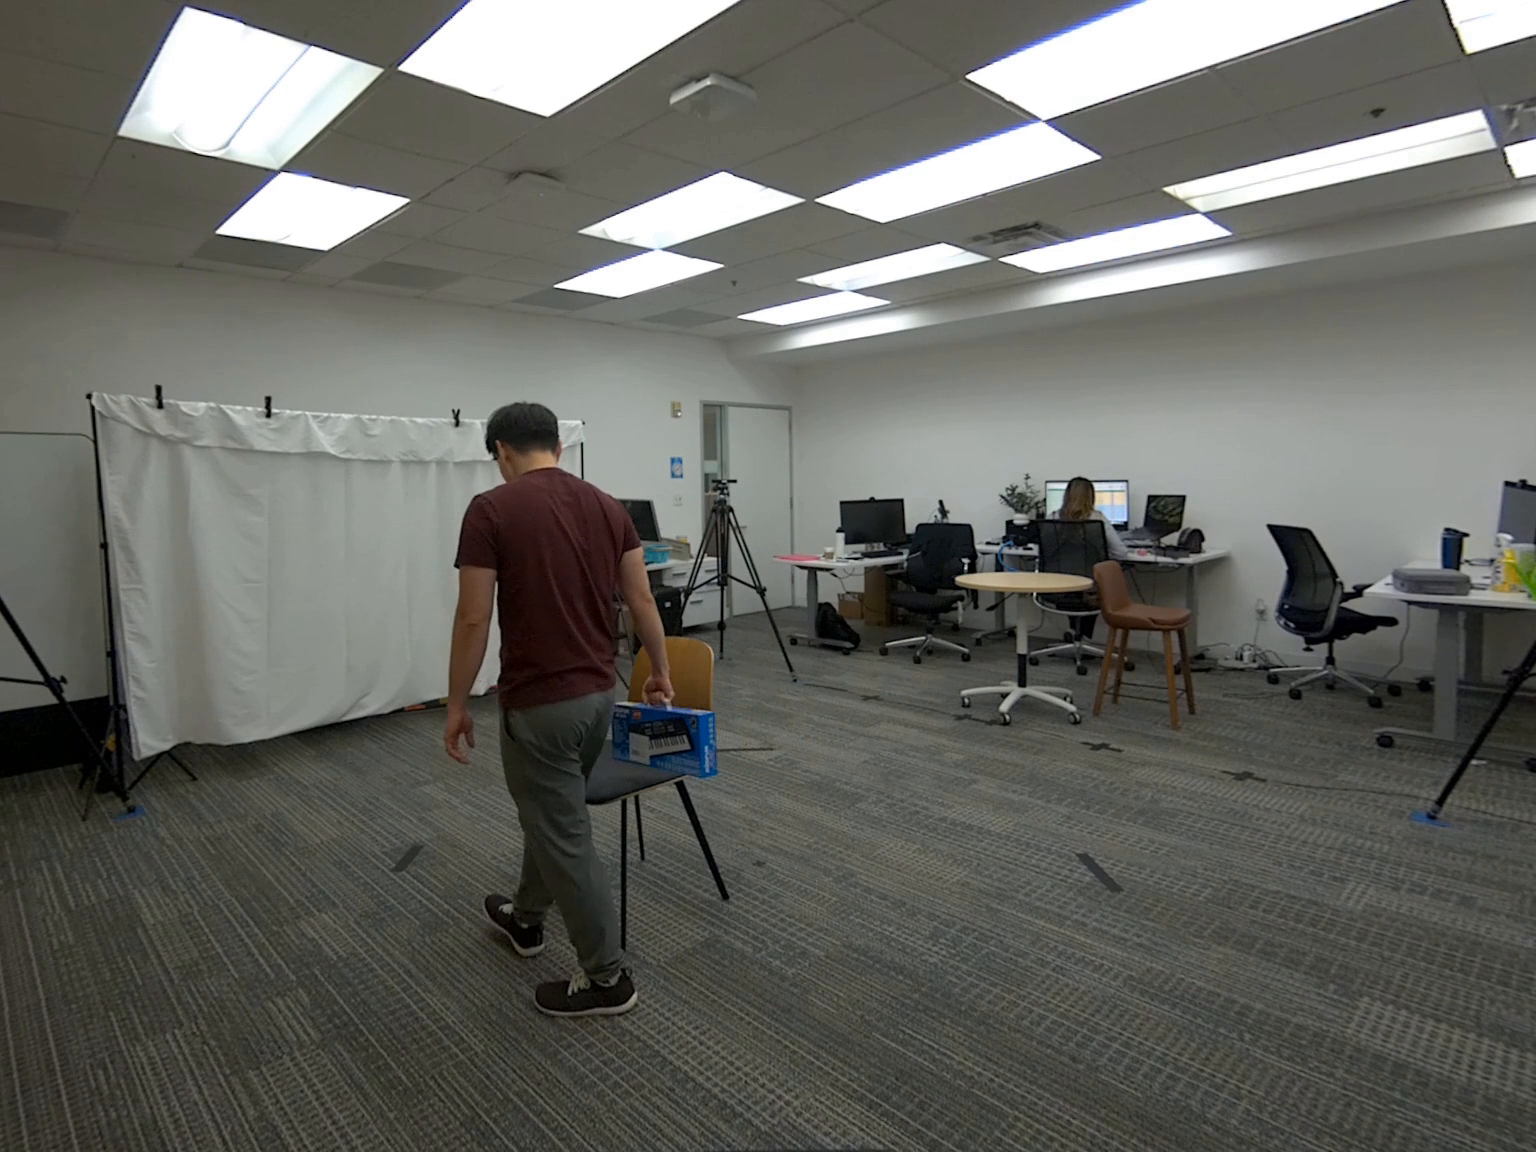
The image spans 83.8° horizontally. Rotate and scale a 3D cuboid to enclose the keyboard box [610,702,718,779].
[{"bbox_3d":[-0.320,0.476,2.508,0.057,0.176,0.448,-1,-1,-42],"label":"keyboard box"}]
